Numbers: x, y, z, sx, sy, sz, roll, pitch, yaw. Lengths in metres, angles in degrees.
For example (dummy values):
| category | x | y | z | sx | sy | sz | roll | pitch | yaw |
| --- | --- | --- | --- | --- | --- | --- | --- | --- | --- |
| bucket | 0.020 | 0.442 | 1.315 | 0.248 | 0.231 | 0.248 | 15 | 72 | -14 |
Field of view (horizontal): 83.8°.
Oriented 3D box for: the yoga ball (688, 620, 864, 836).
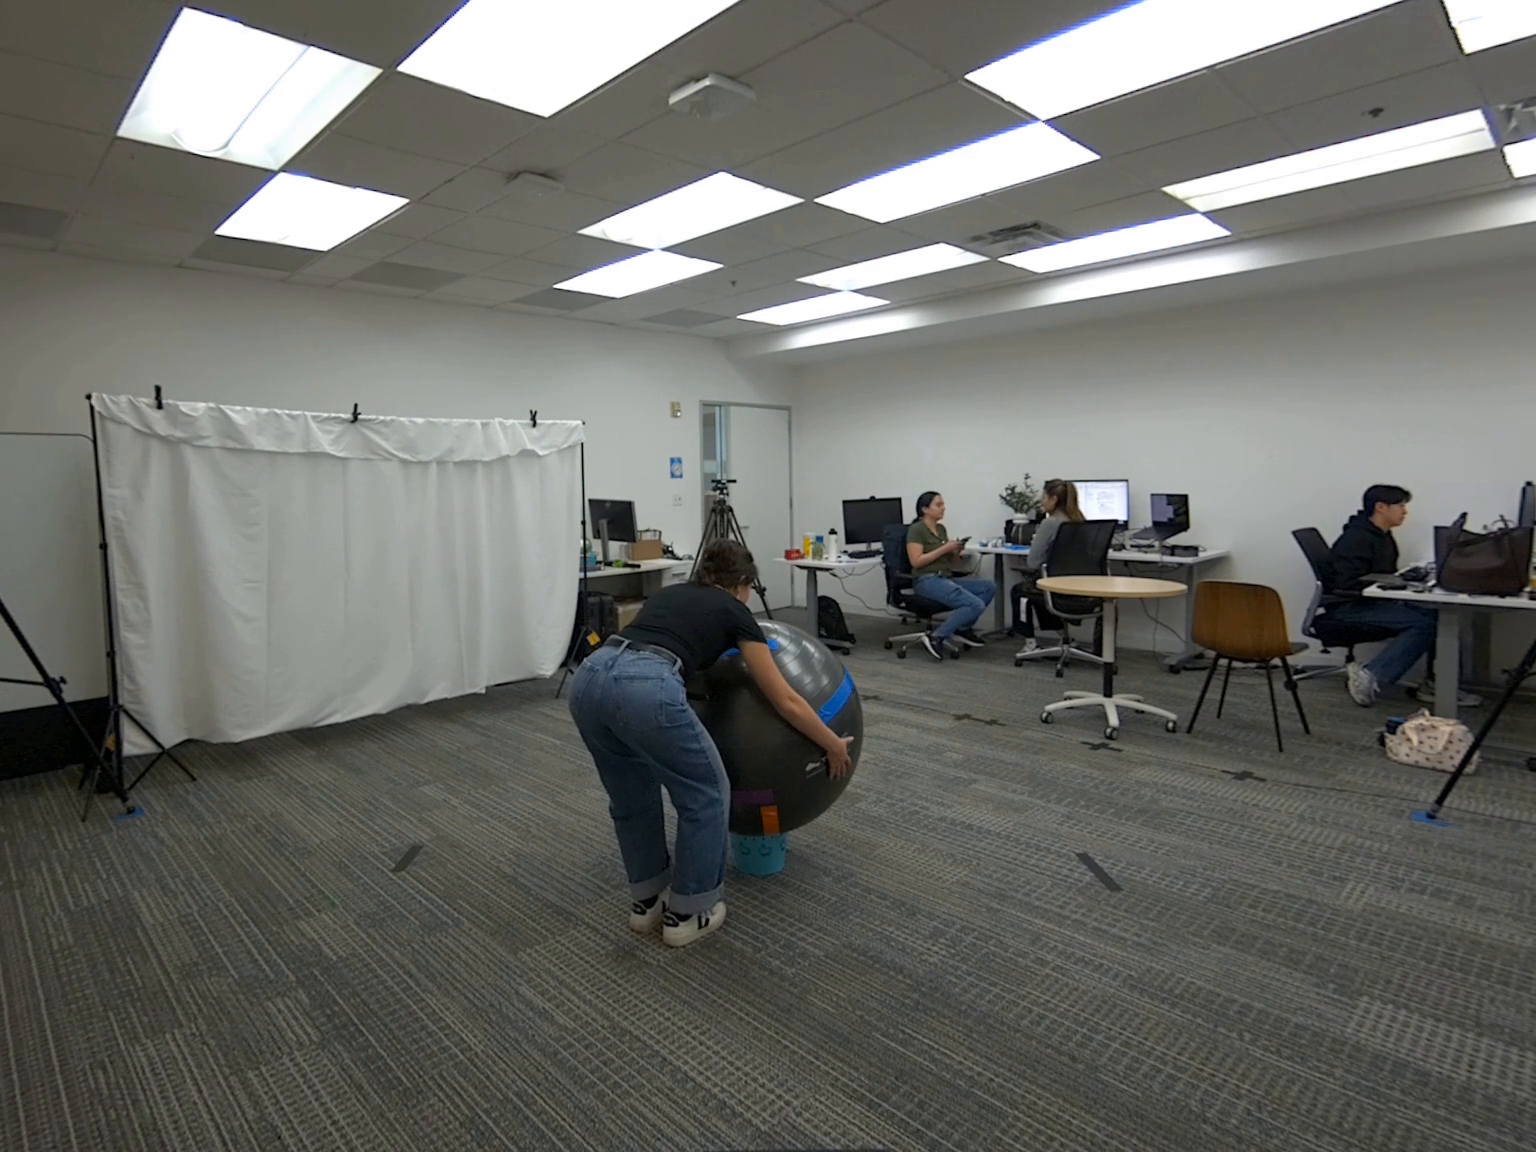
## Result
| category | x | y | z | sx | sy | sz | roll | pitch | yaw |
| --- | --- | --- | --- | --- | --- | --- | --- | --- | --- |
| yoga ball | -0.038 | 0.549 | 3.060 | 0.757 | 0.755 | 0.762 | -1 | 5 | -2 |
